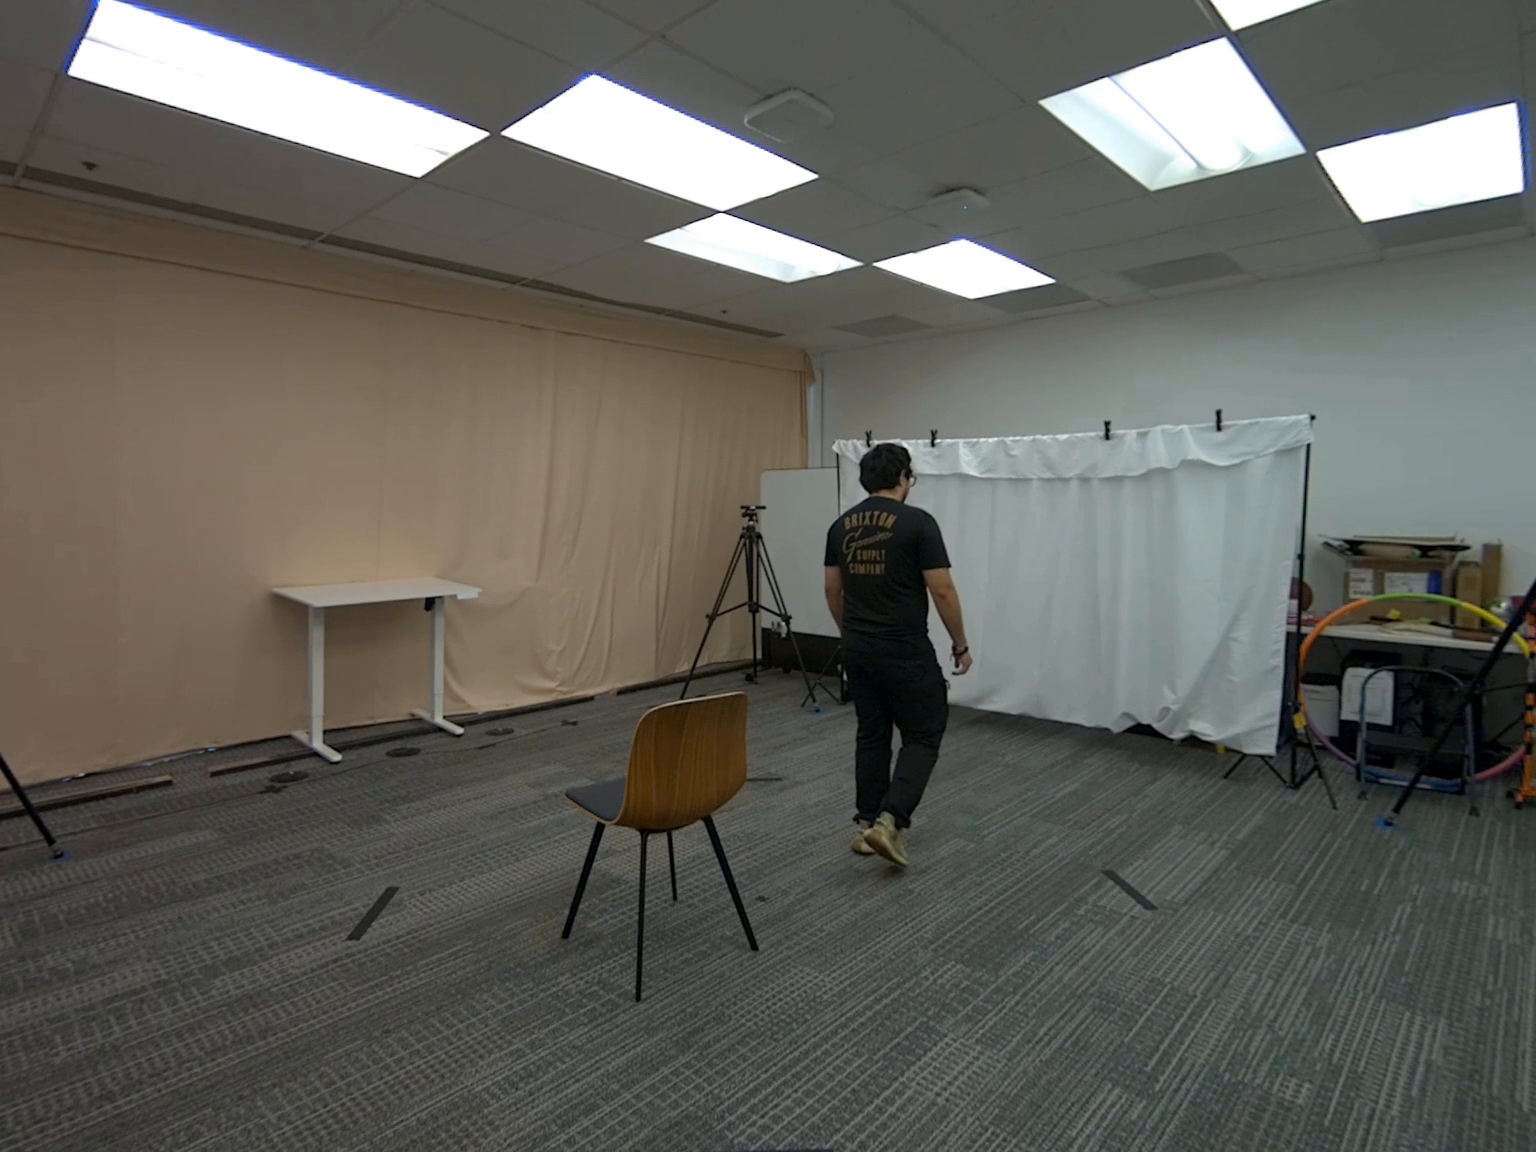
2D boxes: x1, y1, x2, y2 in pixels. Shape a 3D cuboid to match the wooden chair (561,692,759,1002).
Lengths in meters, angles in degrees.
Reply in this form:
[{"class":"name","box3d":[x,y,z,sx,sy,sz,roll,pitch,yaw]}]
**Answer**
[{"class":"wooden chair","box3d":[-0.353,0.747,2.652,0.463,0.874,0.541,-3,9,-40]}]
